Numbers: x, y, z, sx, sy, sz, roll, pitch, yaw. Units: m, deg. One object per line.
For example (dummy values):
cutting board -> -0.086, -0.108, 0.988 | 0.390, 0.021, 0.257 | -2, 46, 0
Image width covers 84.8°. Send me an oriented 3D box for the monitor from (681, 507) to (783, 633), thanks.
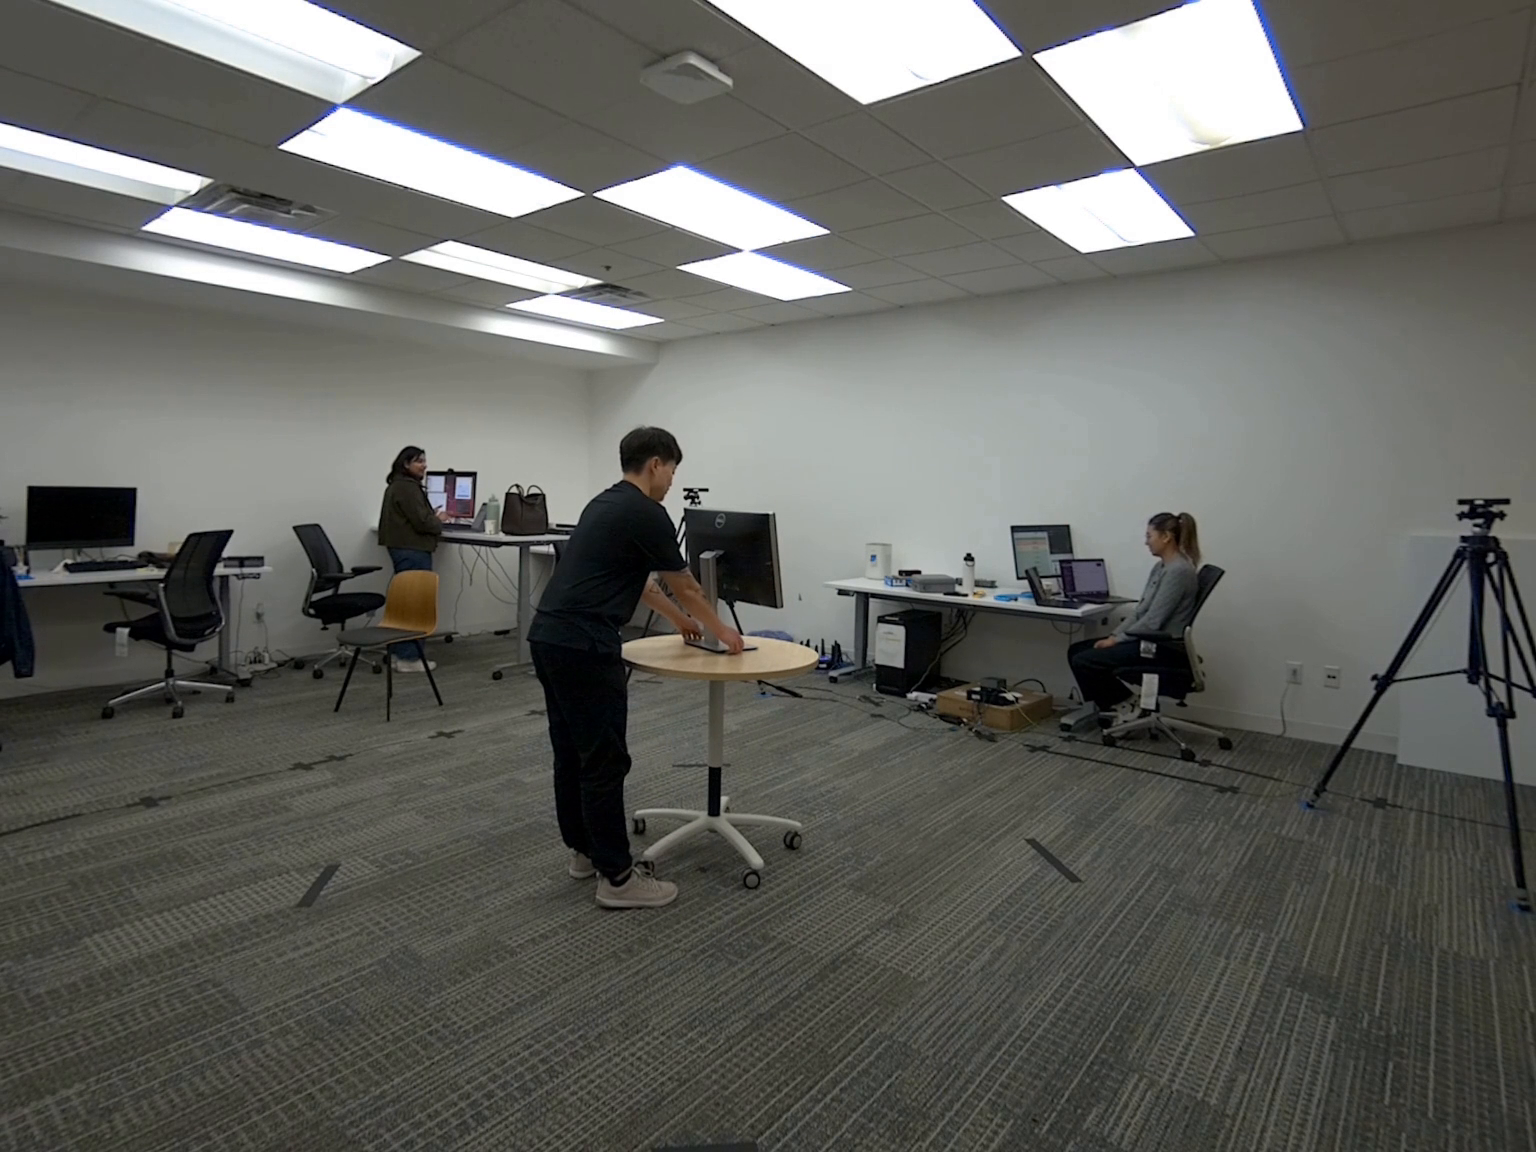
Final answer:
monitor -> -0.194, 0.009, 3.329 | 0.181, 0.521, 0.558 | 1, 4, -40
